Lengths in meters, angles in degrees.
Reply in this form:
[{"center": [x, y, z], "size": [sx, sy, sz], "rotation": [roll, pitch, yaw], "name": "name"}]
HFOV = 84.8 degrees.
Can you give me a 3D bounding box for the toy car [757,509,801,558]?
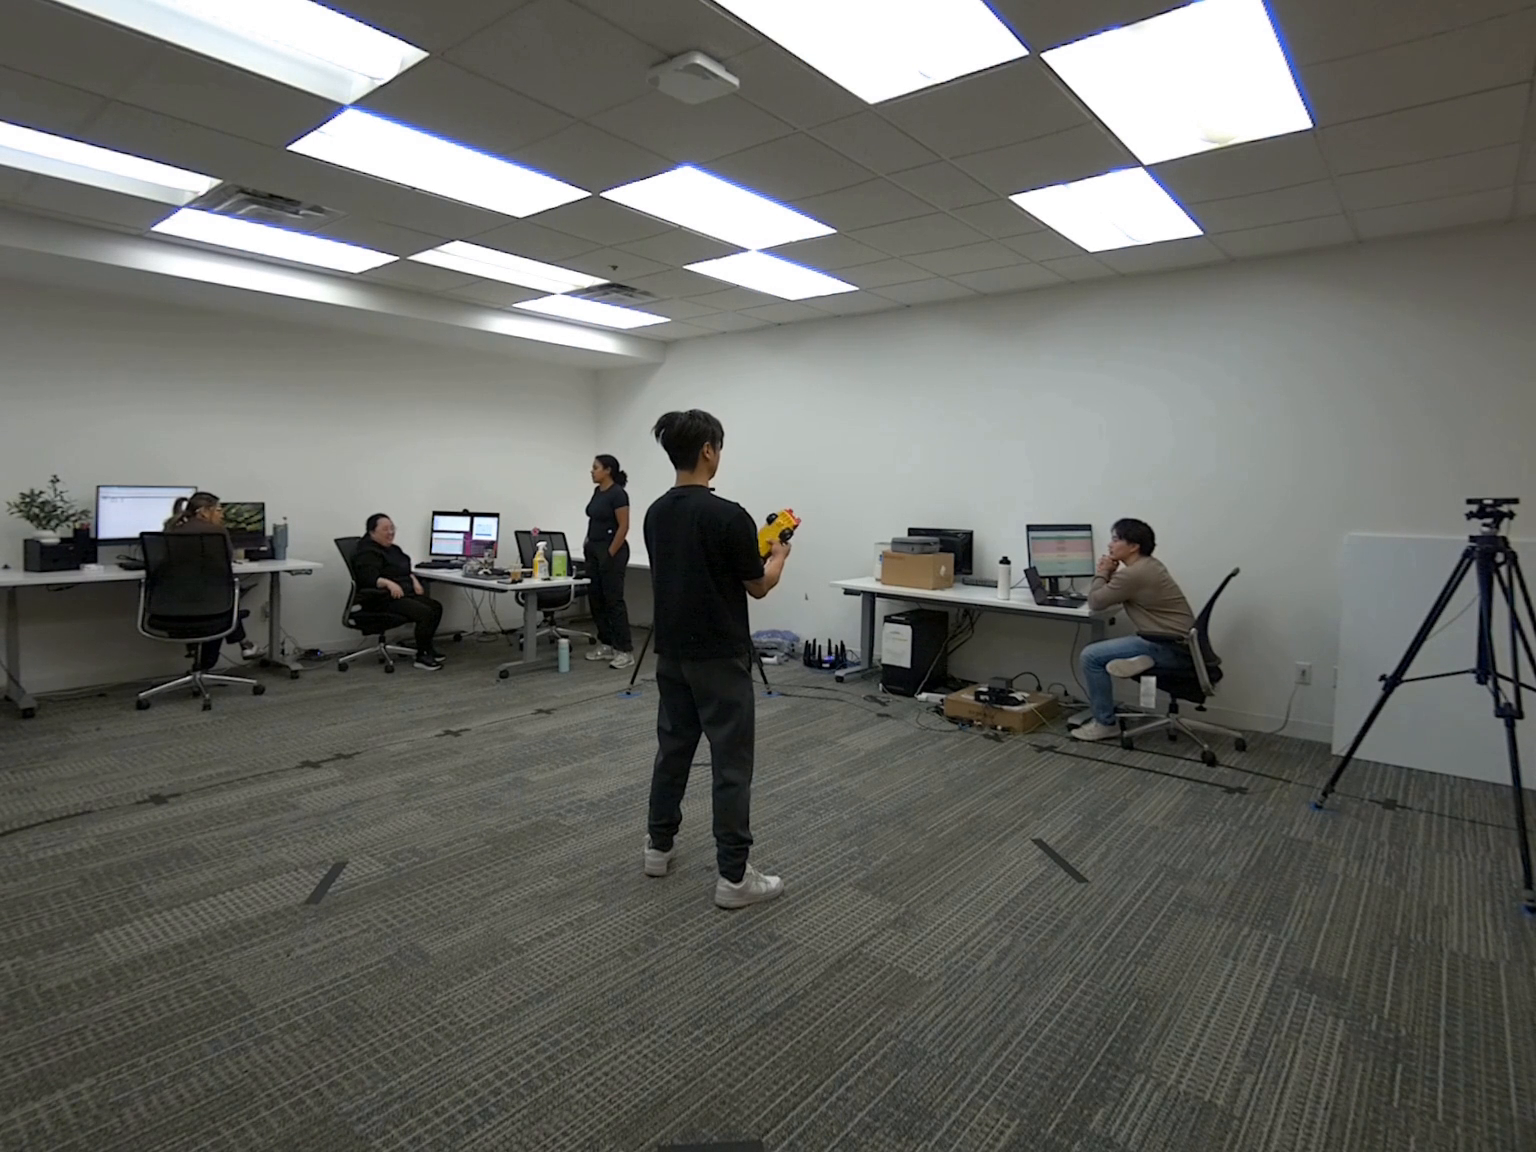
[{"center": [0.001, -0.149, 3.224], "size": [0.135, 0.254, 0.080], "rotation": [49, 4, 31], "name": "toy car"}]
